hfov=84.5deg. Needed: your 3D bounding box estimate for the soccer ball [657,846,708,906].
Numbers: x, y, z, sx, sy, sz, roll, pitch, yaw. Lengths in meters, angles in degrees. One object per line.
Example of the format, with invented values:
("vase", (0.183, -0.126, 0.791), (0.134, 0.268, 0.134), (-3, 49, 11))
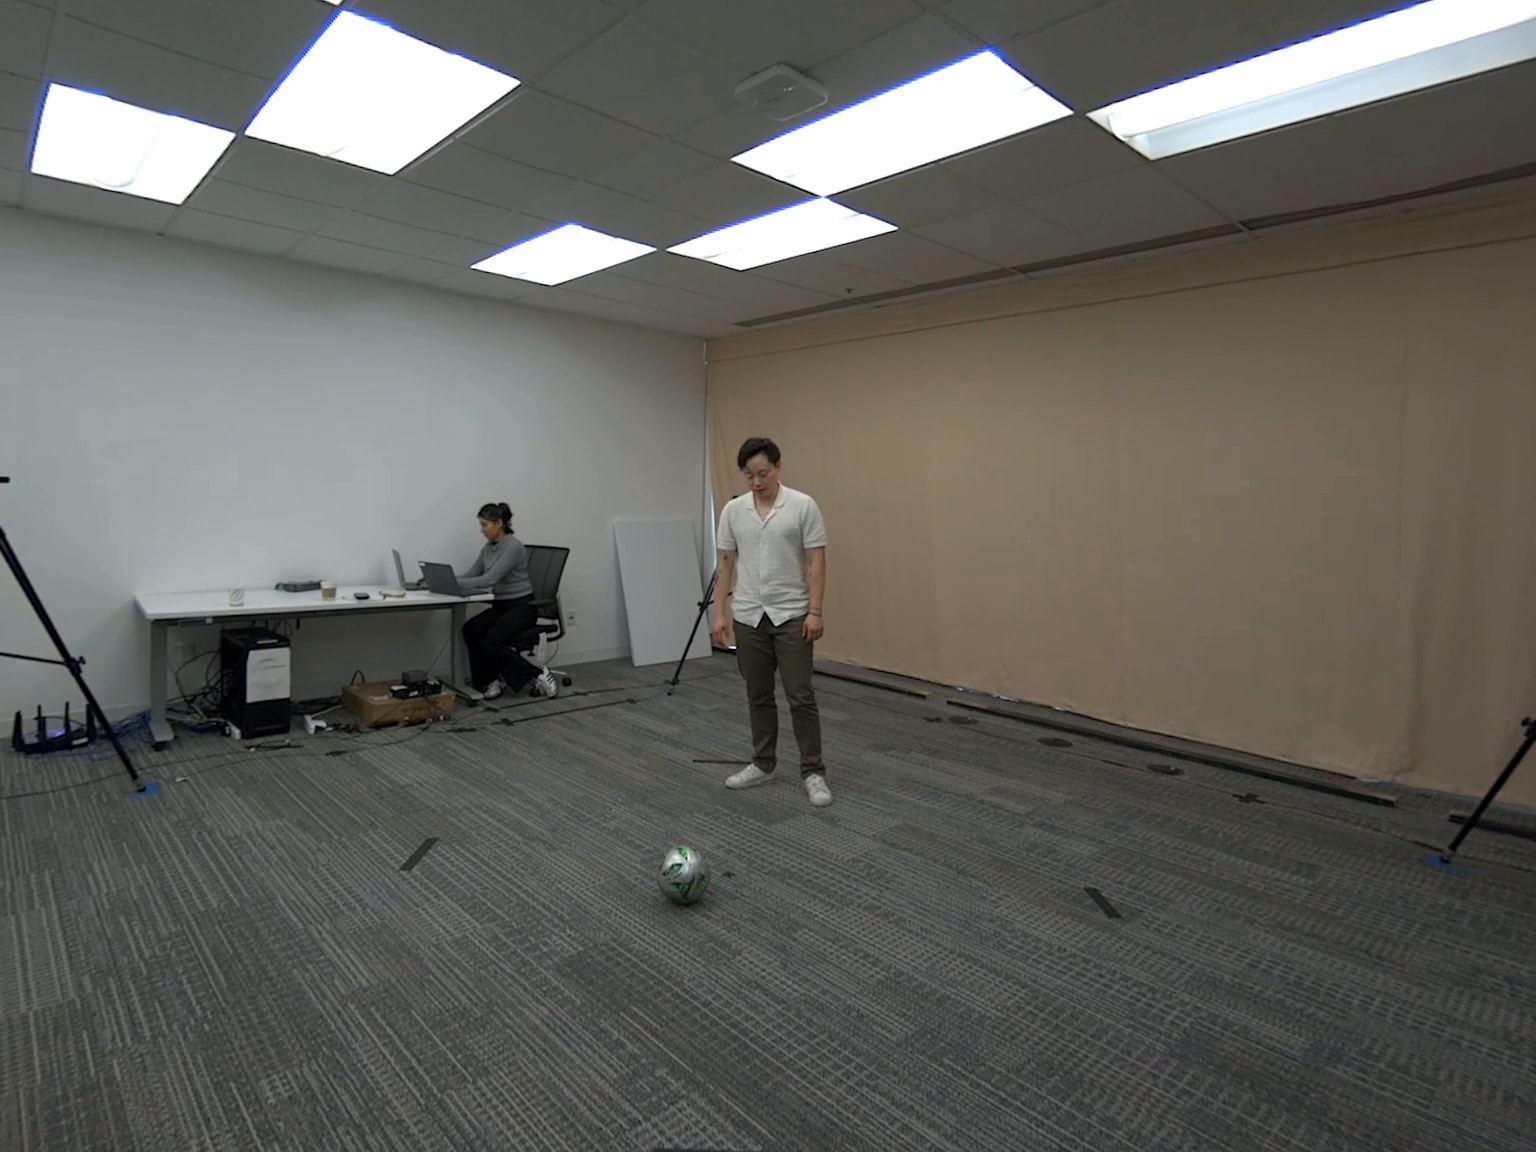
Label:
("soccer ball", (-0.298, 1.019, 2.885), (0.187, 0.187, 0.188), (1, 4, -1))
